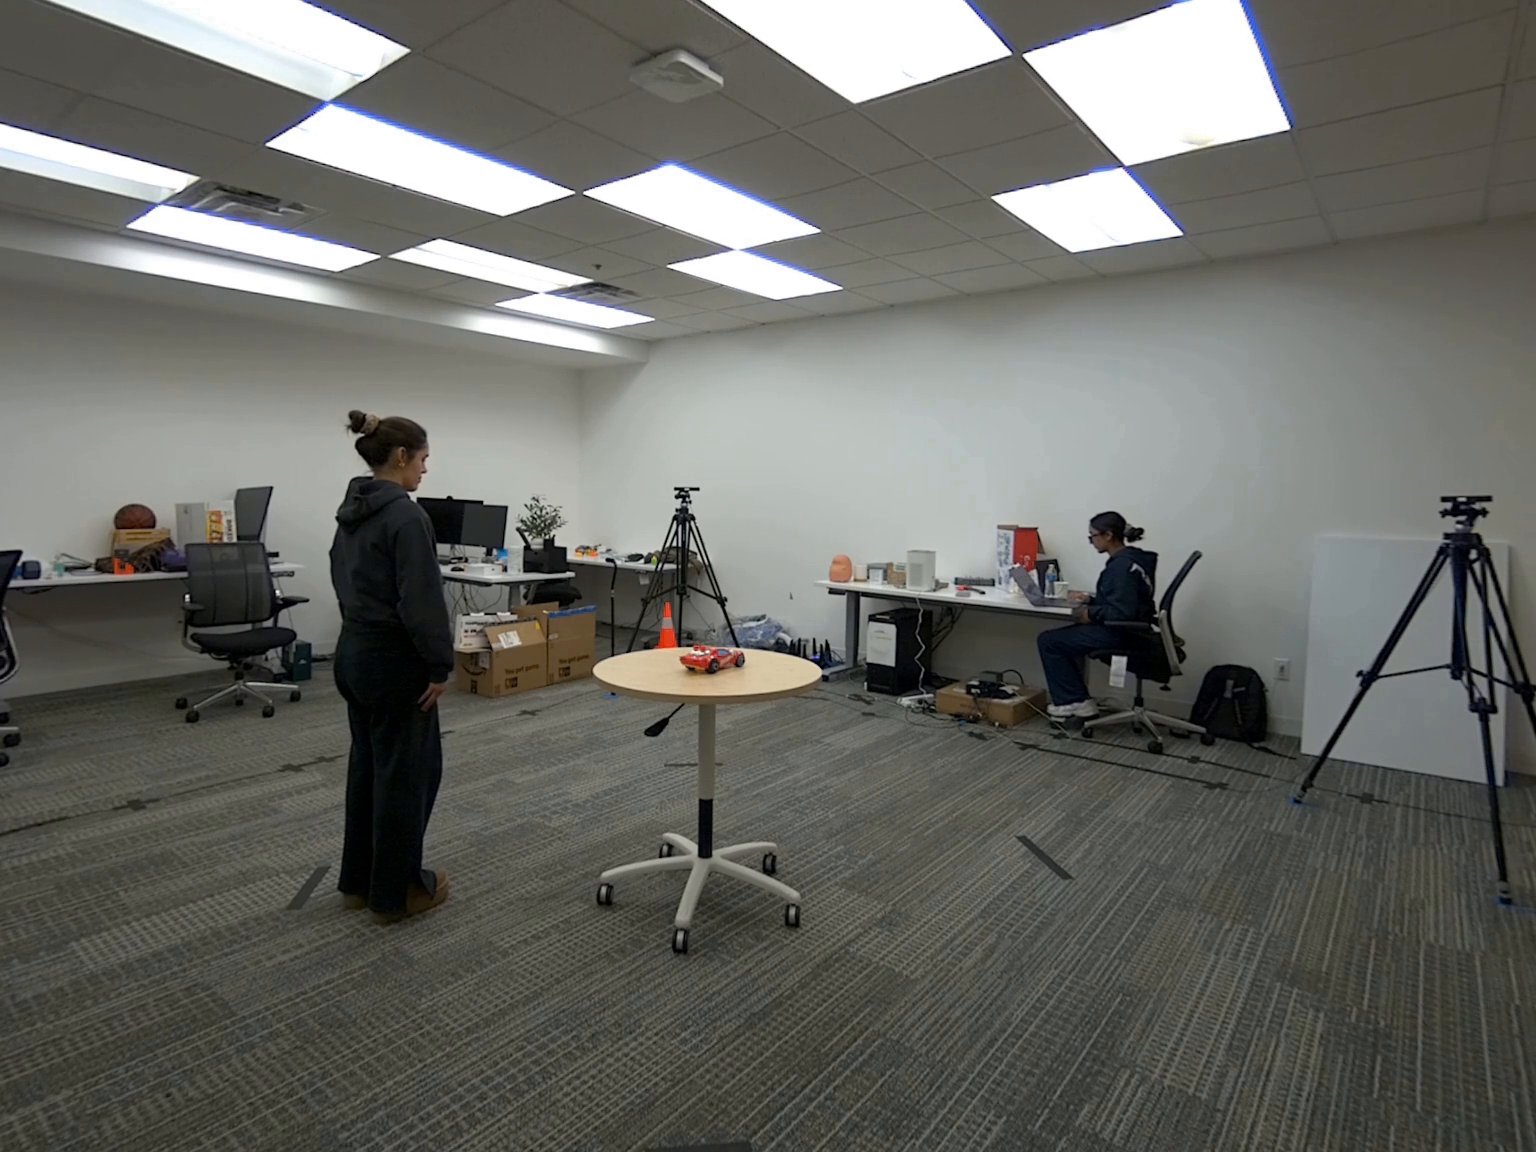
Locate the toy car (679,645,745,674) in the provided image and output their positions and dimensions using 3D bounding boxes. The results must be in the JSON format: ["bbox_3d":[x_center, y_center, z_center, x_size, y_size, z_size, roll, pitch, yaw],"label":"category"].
[{"bbox_3d":[-0.194,0.282,2.840,0.134,0.083,0.245,4,-4,38],"label":"toy car"}]
